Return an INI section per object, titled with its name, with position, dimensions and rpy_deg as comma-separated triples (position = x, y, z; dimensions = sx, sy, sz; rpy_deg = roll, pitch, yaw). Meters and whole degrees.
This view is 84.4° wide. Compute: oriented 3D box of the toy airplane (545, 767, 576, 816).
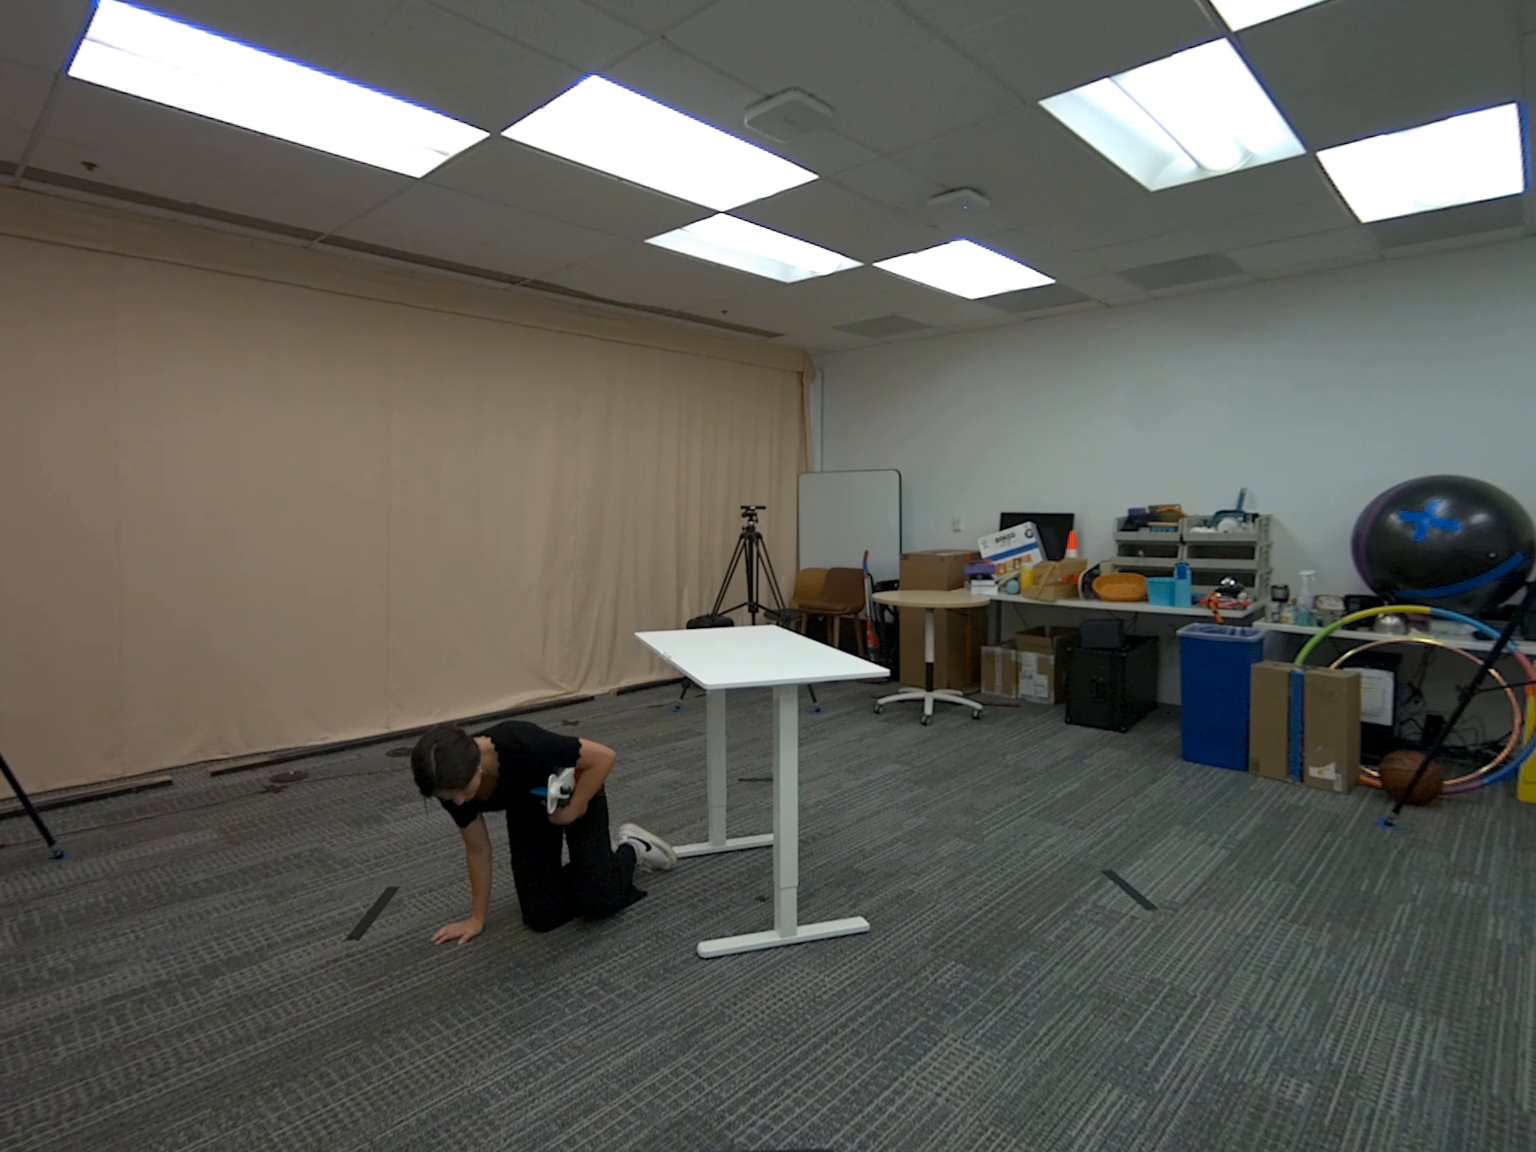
[toy airplane]
position = -0.637, 0.643, 2.708
dimensions = 0.161, 0.253, 0.250
rpy_deg = 4, -23, 26
